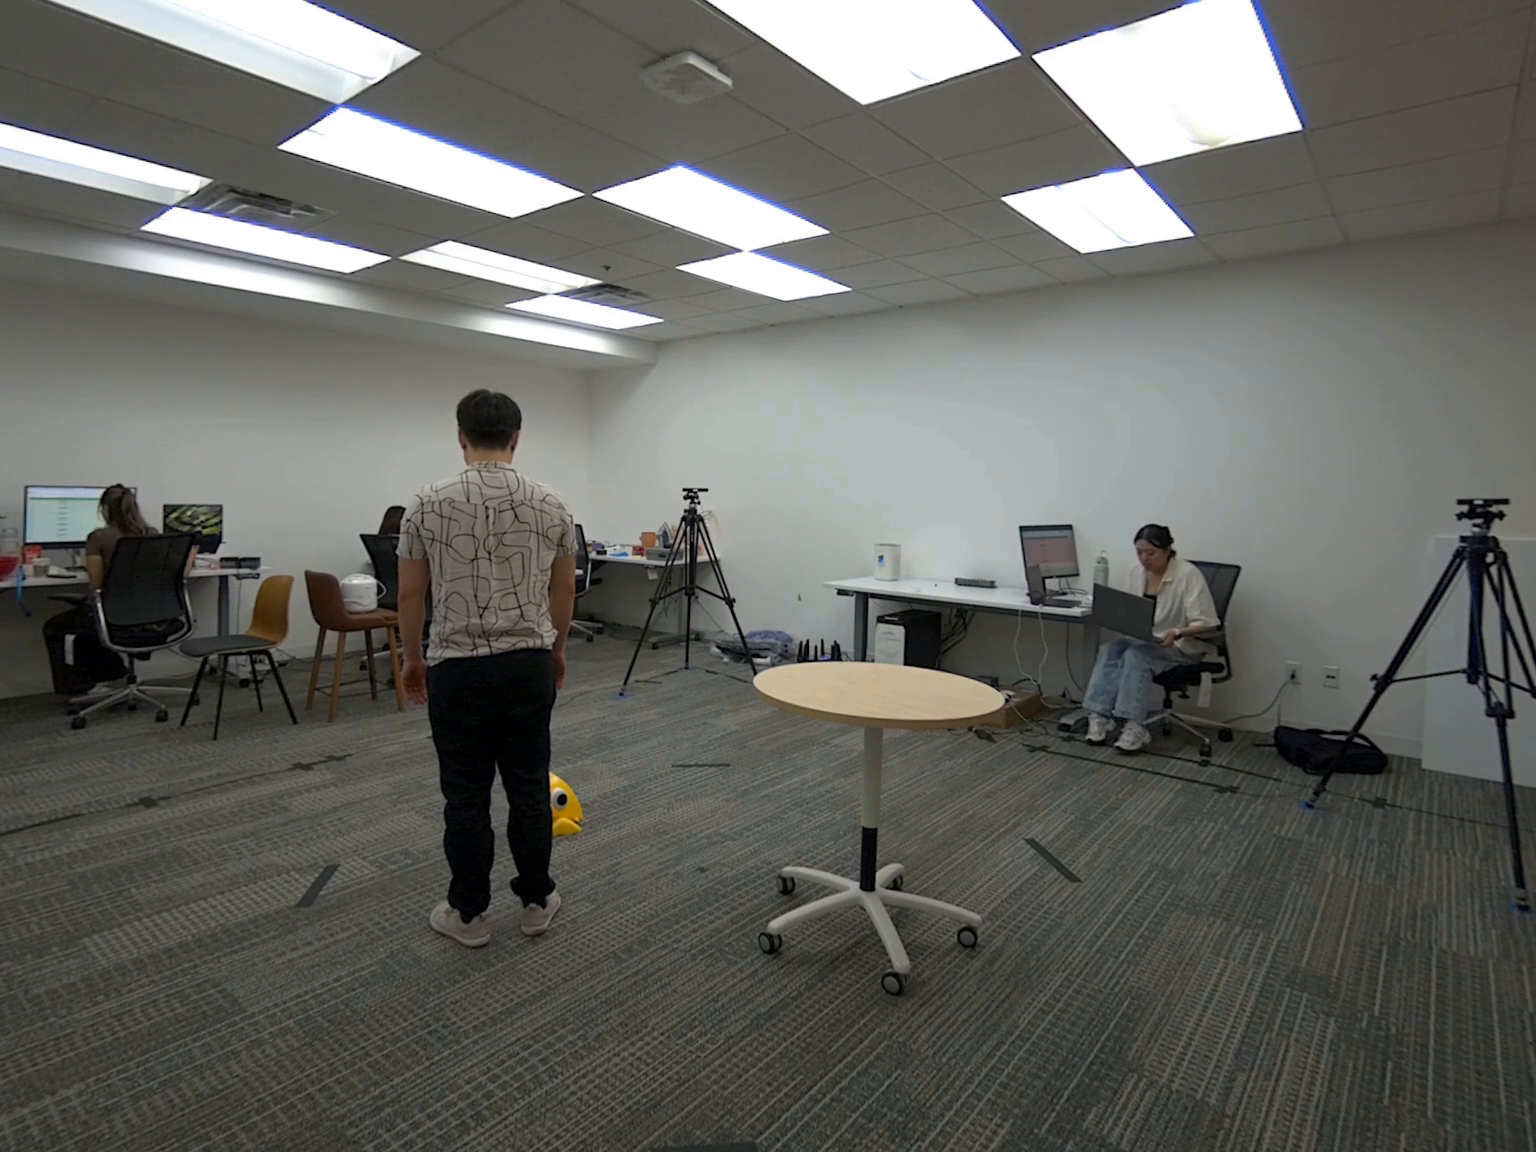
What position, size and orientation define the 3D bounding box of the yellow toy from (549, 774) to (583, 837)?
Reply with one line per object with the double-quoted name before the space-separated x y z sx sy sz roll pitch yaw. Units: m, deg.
"yellow toy" -0.868 0.912 3.497 0.191 0.230 0.207 -1 3 -9
